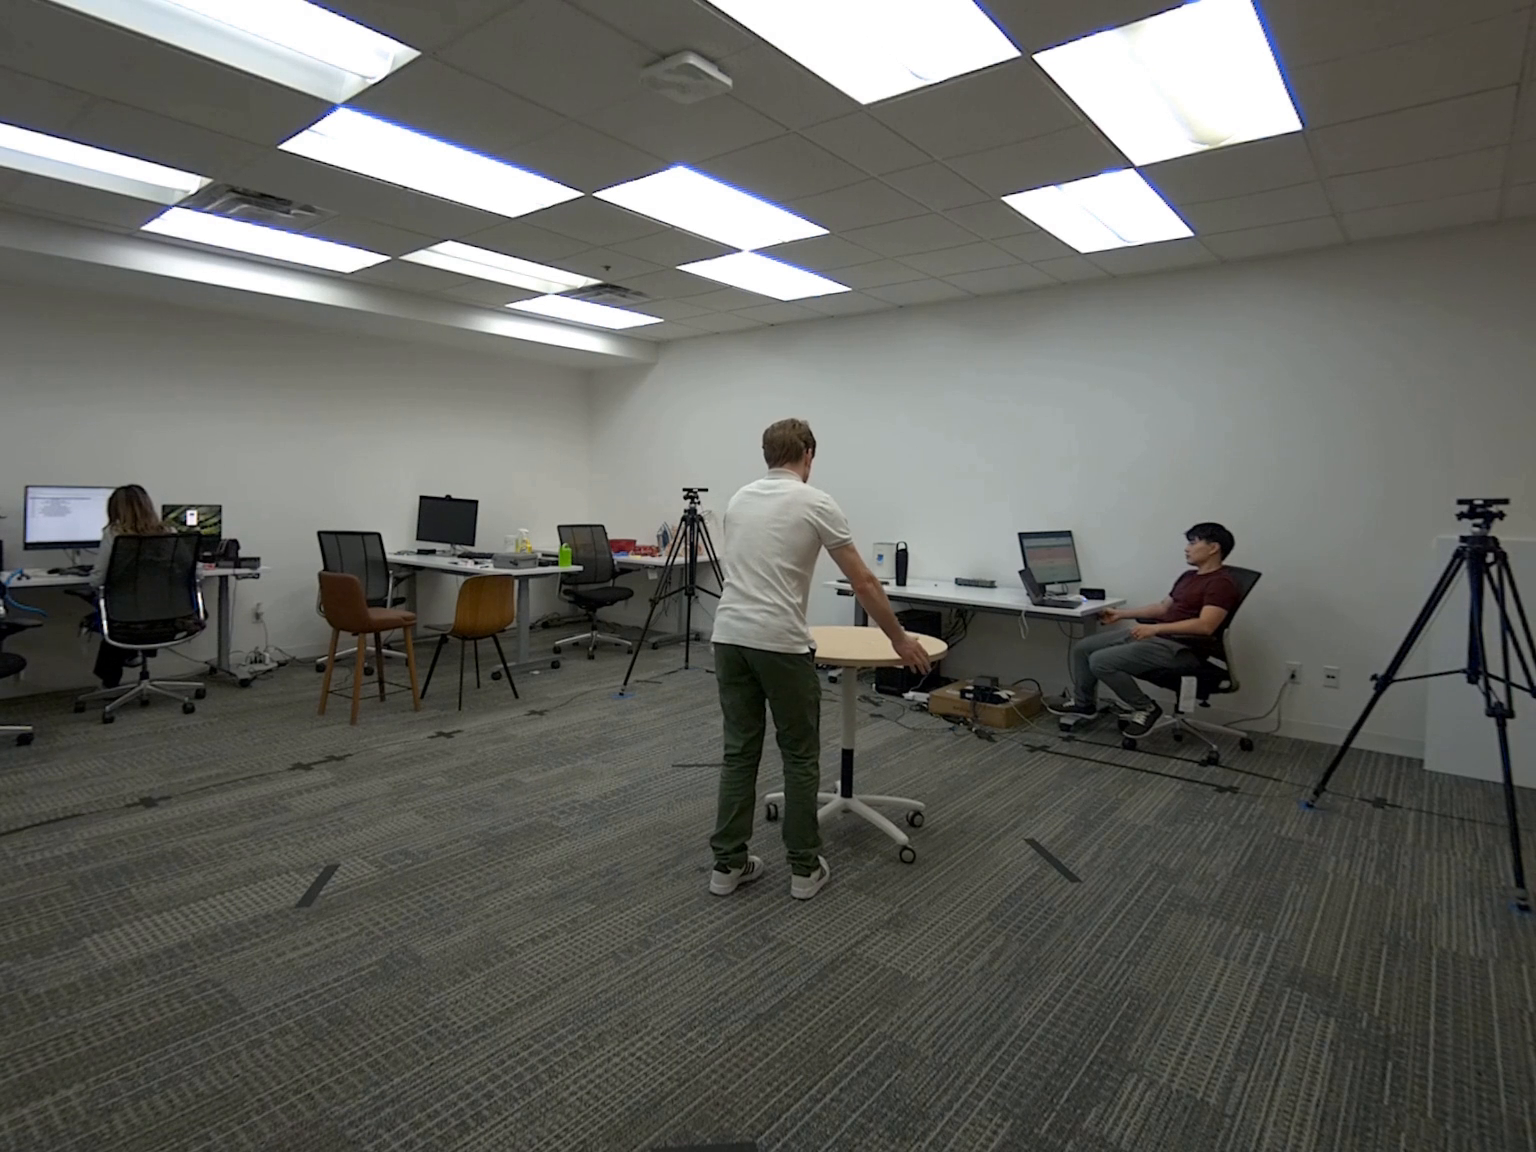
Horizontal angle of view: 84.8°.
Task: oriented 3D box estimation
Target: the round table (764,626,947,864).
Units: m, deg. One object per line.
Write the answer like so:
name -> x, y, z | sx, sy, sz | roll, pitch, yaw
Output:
round table -> 0.321, 0.655, 3.481 | 0.763, 0.791, 0.768 | 1, 4, -2
